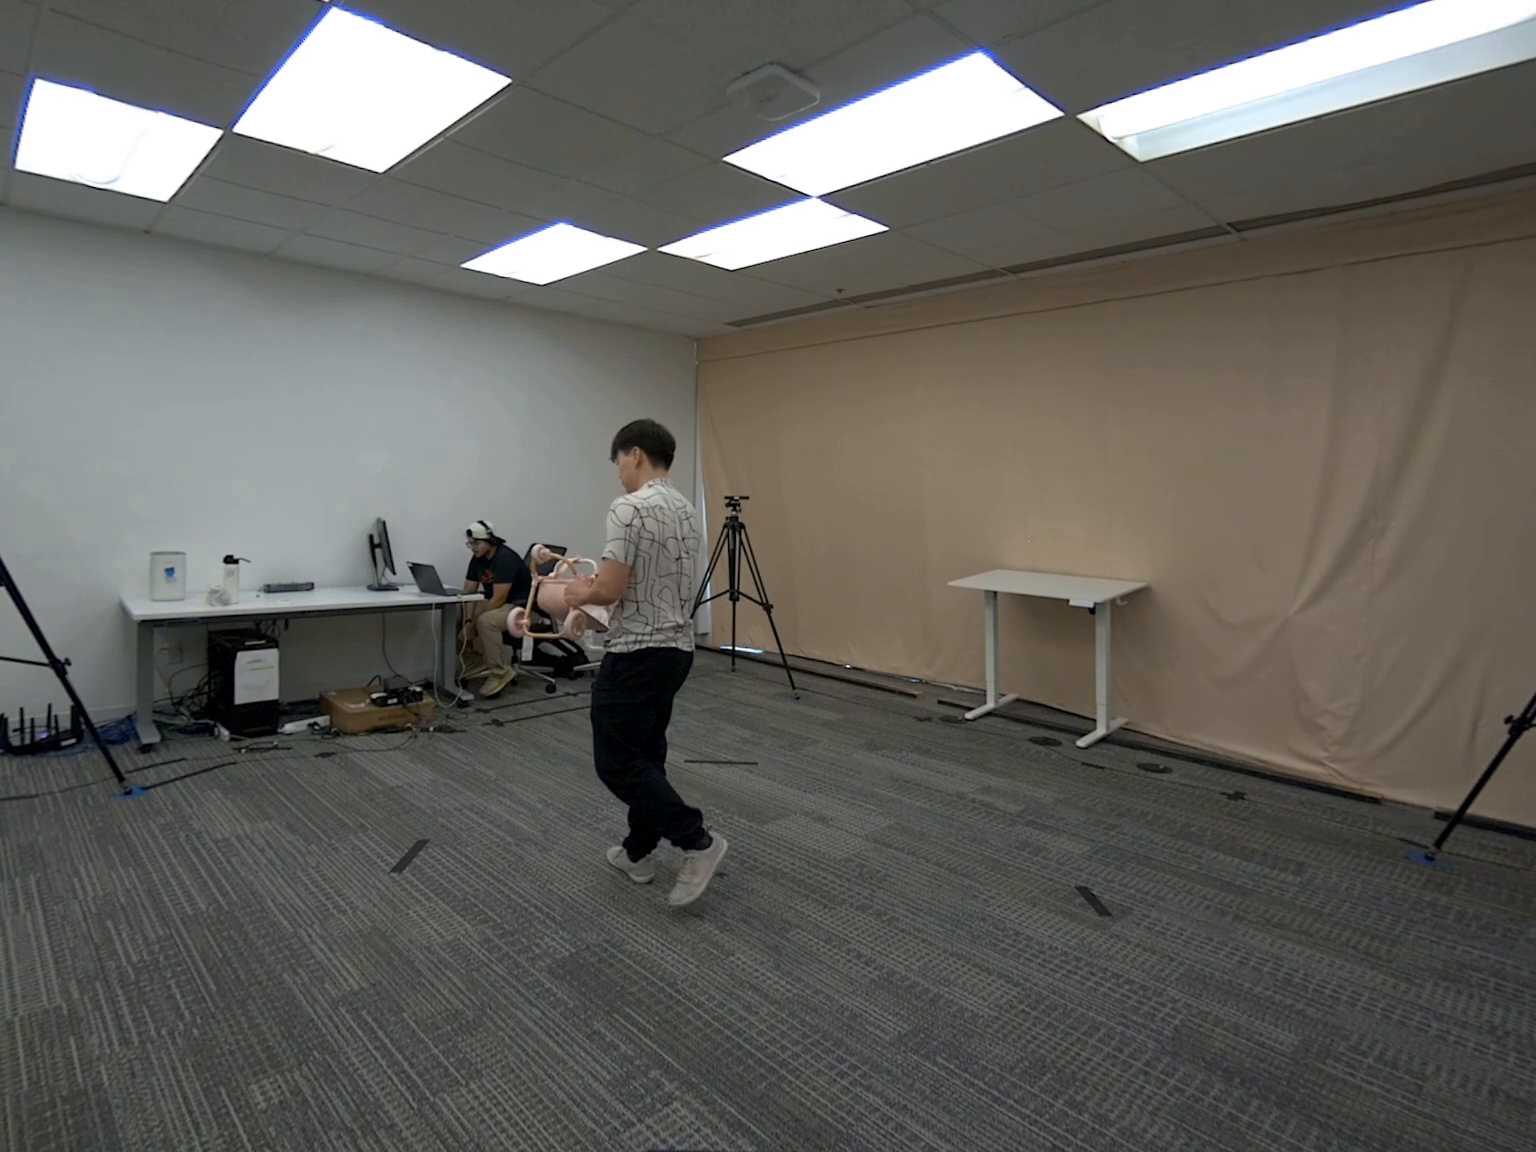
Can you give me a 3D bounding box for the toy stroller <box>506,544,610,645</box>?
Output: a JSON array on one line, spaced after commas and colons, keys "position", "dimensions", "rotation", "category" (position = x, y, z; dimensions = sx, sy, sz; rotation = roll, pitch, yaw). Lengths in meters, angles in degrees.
[{"position": [-0.738, 0.094, 3.162], "dimensions": [0.286, 0.344, 0.521], "rotation": [-4, -14, 24], "category": "toy stroller"}]
